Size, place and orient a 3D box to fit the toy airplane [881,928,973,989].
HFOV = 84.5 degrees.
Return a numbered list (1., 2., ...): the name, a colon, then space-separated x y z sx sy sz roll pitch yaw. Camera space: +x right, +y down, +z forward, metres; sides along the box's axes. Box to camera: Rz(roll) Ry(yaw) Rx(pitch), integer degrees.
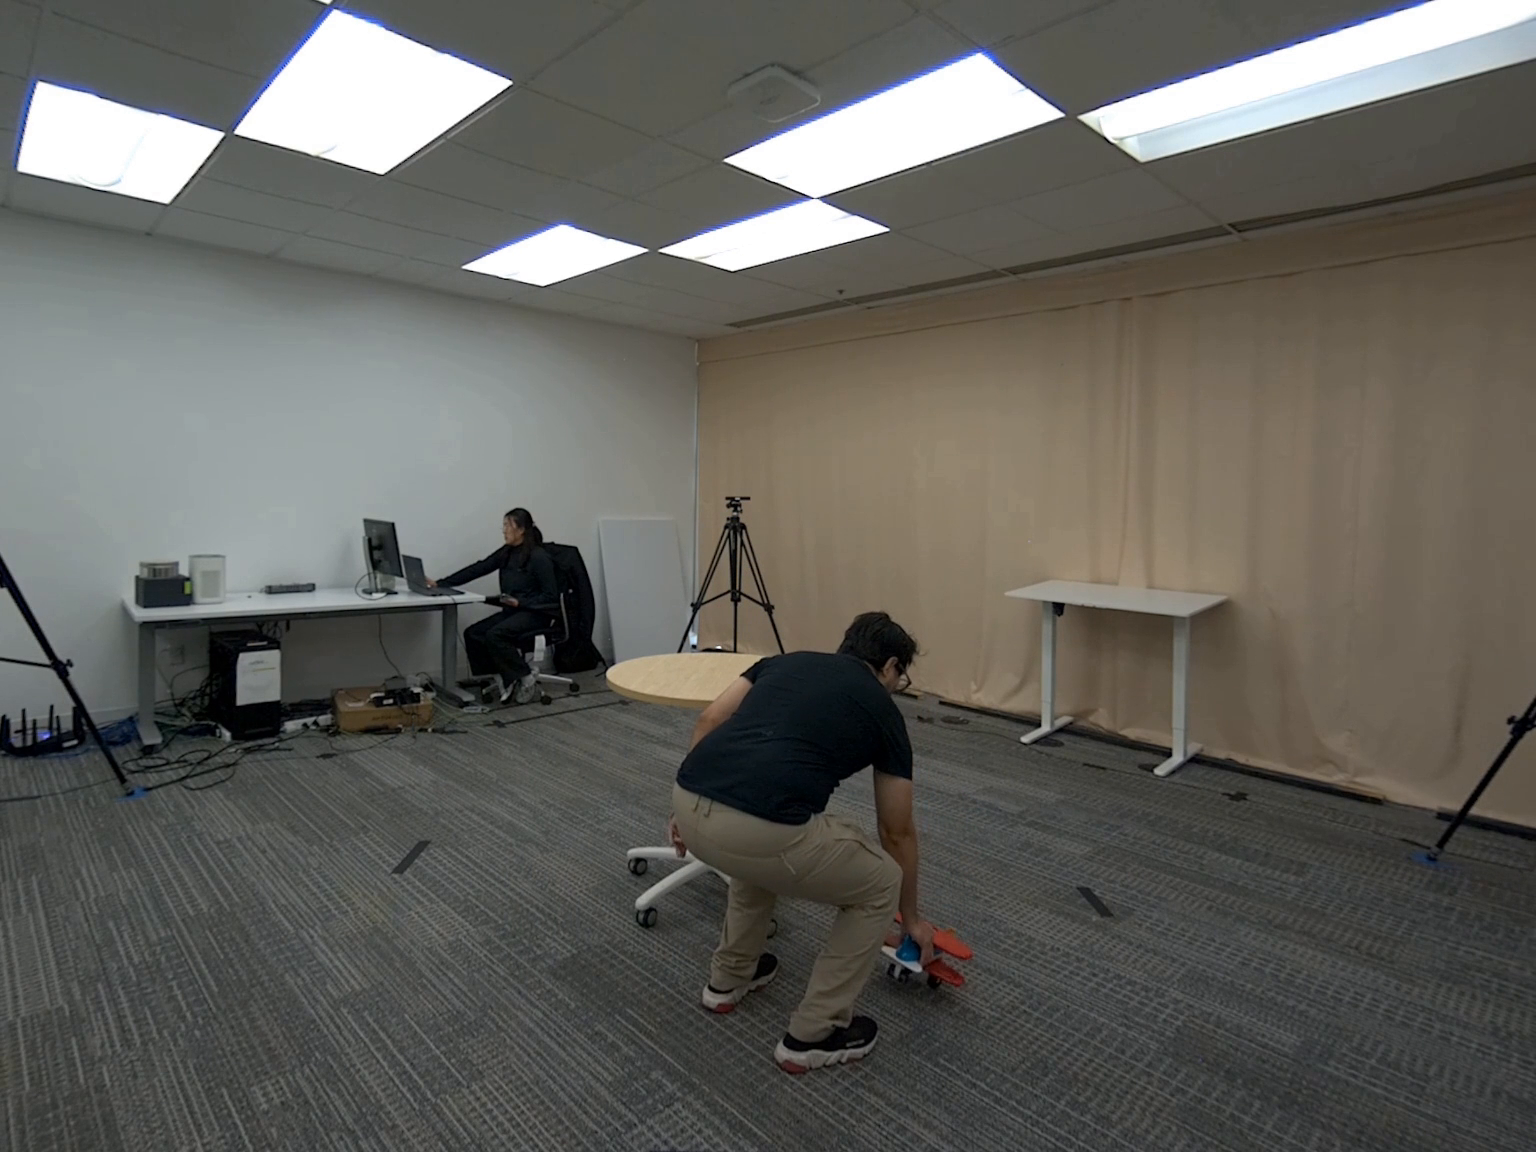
1. toy airplane: 0.440 1.079 2.368 0.253 0.157 0.256 22 -10 8
